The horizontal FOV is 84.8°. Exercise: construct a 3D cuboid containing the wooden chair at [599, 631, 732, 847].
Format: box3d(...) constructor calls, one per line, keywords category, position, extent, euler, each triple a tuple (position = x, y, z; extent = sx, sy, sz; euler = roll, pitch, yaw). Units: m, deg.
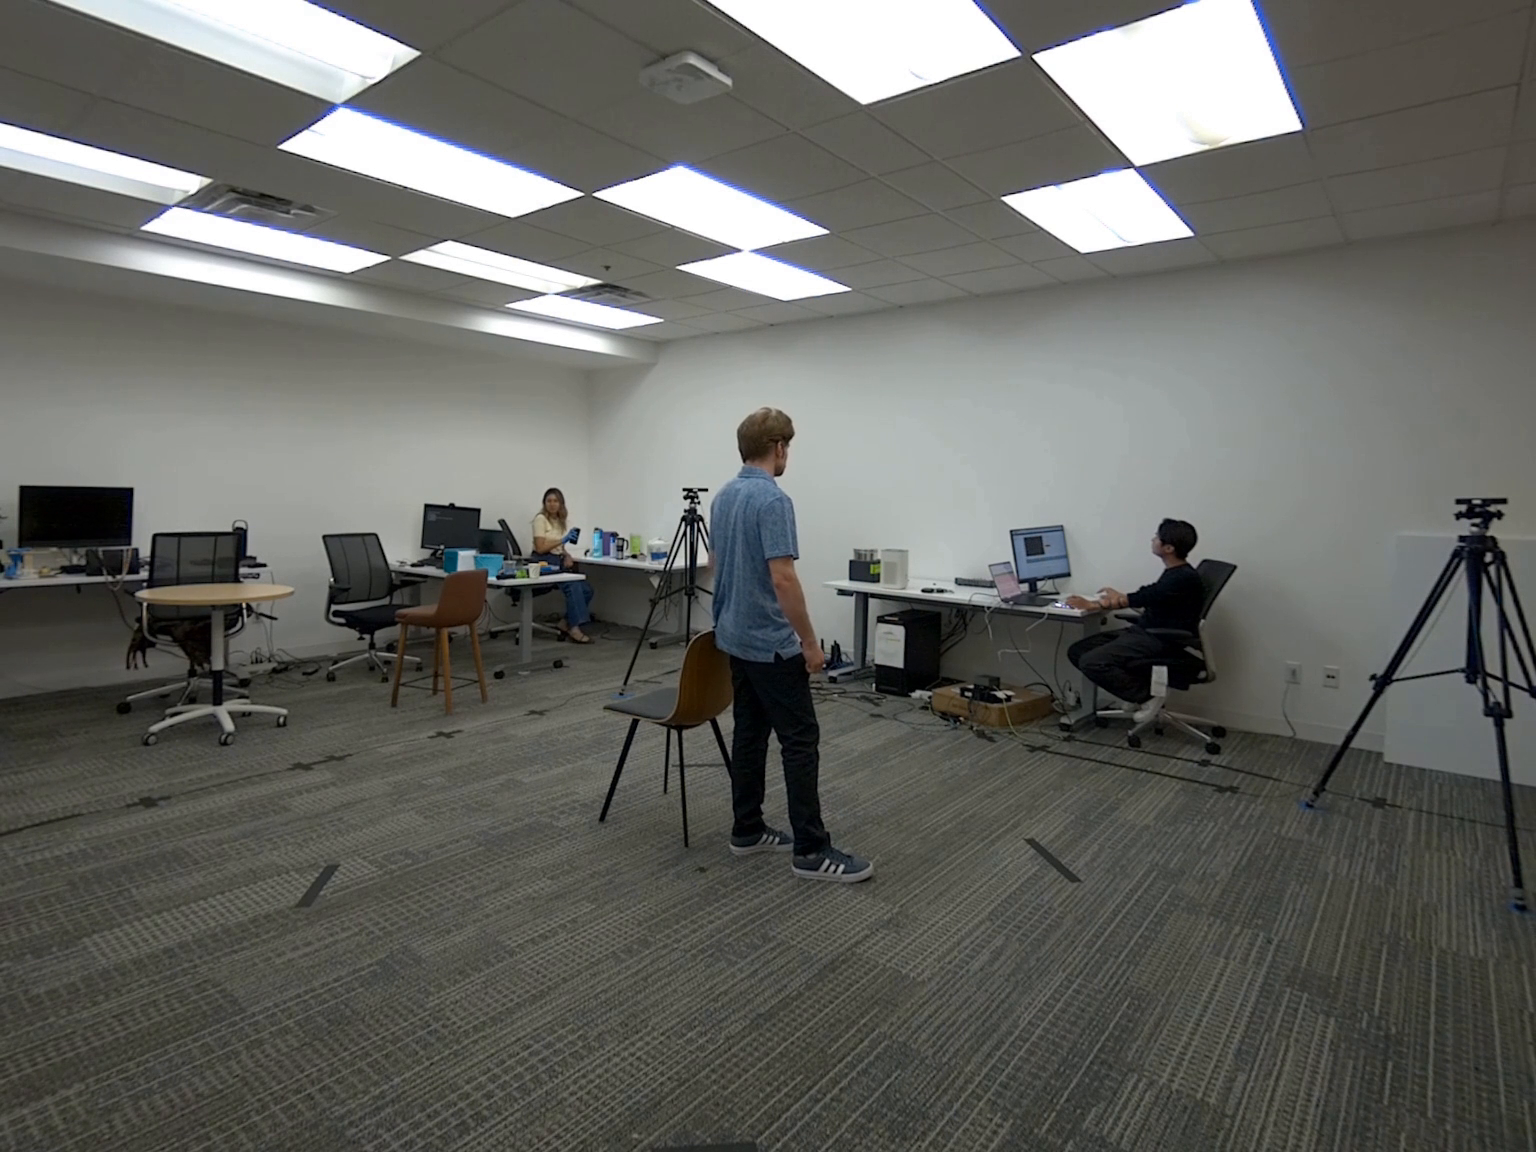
box3d(category="wooden chair", position=(-0.409, 0.594, 3.577), extent=(0.540, 0.873, 0.465), euler=(8, 7, 31))
